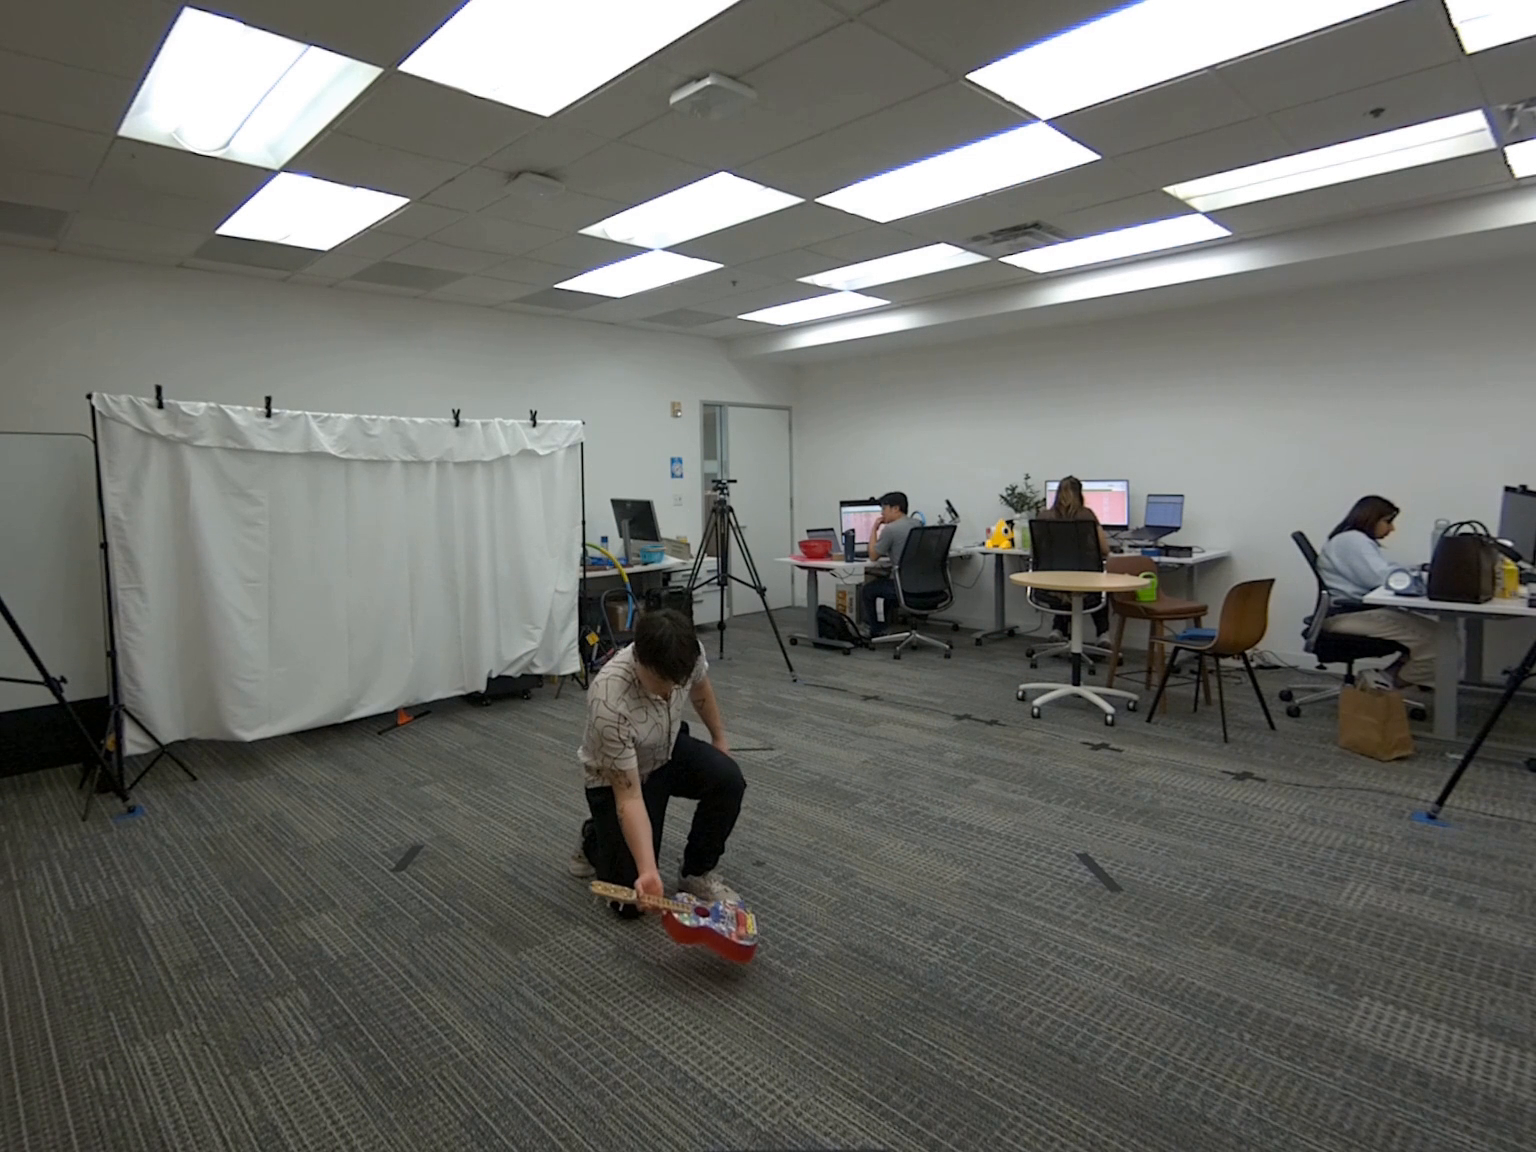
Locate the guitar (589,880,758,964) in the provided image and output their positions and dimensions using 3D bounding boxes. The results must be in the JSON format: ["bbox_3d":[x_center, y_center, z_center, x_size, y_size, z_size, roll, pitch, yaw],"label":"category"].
[{"bbox_3d":[-0.263,0.955,2.443,0.499,0.070,0.193,18,9,2],"label":"guitar"}]
